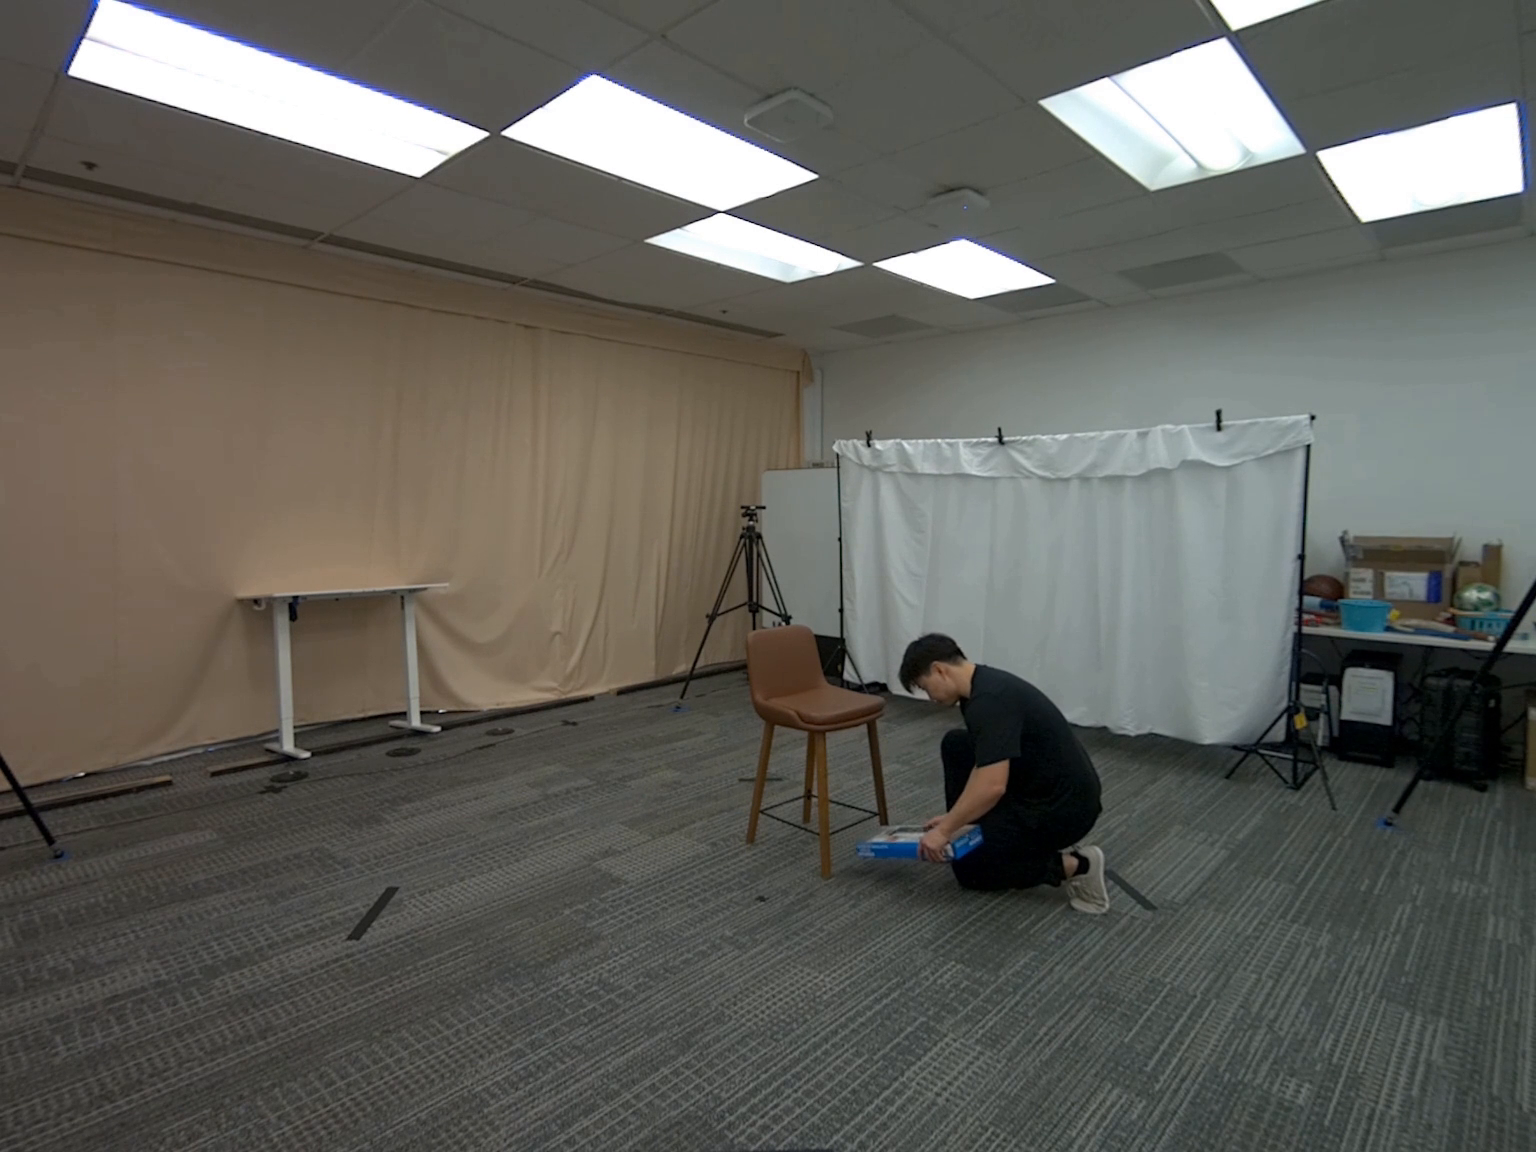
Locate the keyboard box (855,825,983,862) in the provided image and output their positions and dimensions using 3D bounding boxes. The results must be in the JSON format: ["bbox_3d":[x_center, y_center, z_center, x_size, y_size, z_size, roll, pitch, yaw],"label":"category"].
[{"bbox_3d":[0.541,0.963,3.018,0.171,0.059,0.447,-11,-6,-44],"label":"keyboard box"}]
